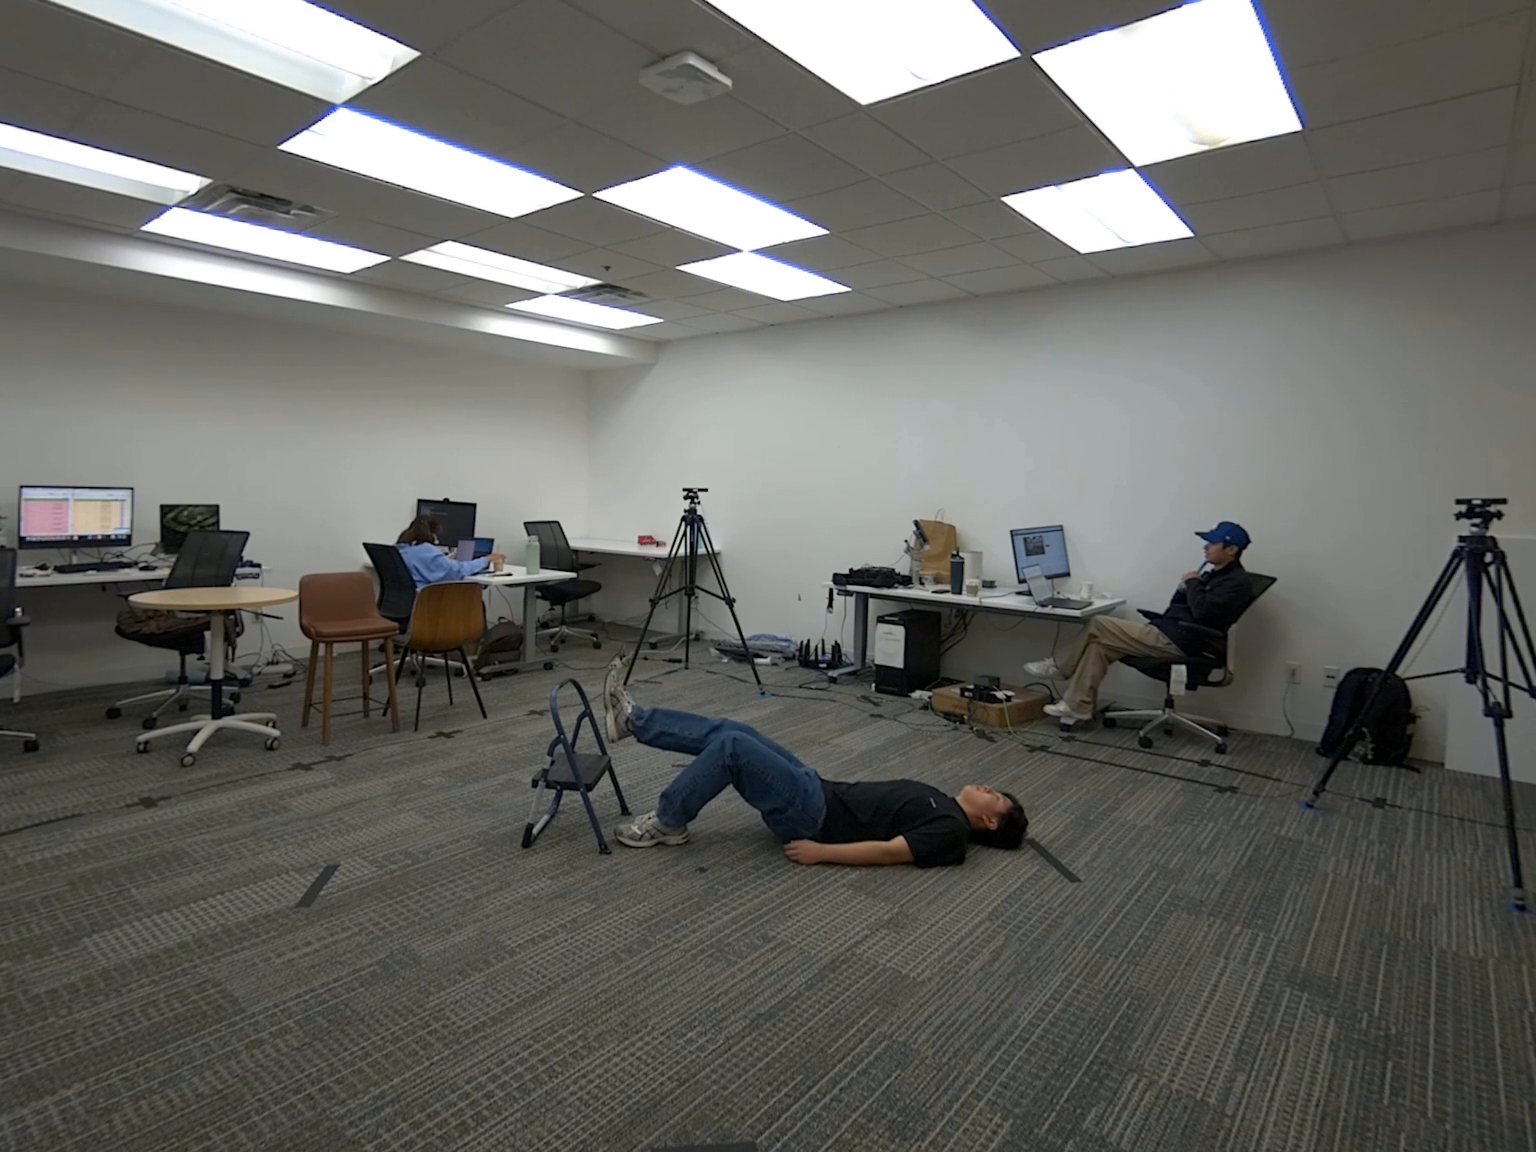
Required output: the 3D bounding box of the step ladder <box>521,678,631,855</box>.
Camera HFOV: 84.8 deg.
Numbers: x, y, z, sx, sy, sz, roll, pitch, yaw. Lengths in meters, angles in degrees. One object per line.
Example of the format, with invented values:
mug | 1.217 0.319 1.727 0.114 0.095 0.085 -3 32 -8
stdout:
step ladder | -0.774 0.728 3.434 0.351 0.604 0.430 2 3 2
